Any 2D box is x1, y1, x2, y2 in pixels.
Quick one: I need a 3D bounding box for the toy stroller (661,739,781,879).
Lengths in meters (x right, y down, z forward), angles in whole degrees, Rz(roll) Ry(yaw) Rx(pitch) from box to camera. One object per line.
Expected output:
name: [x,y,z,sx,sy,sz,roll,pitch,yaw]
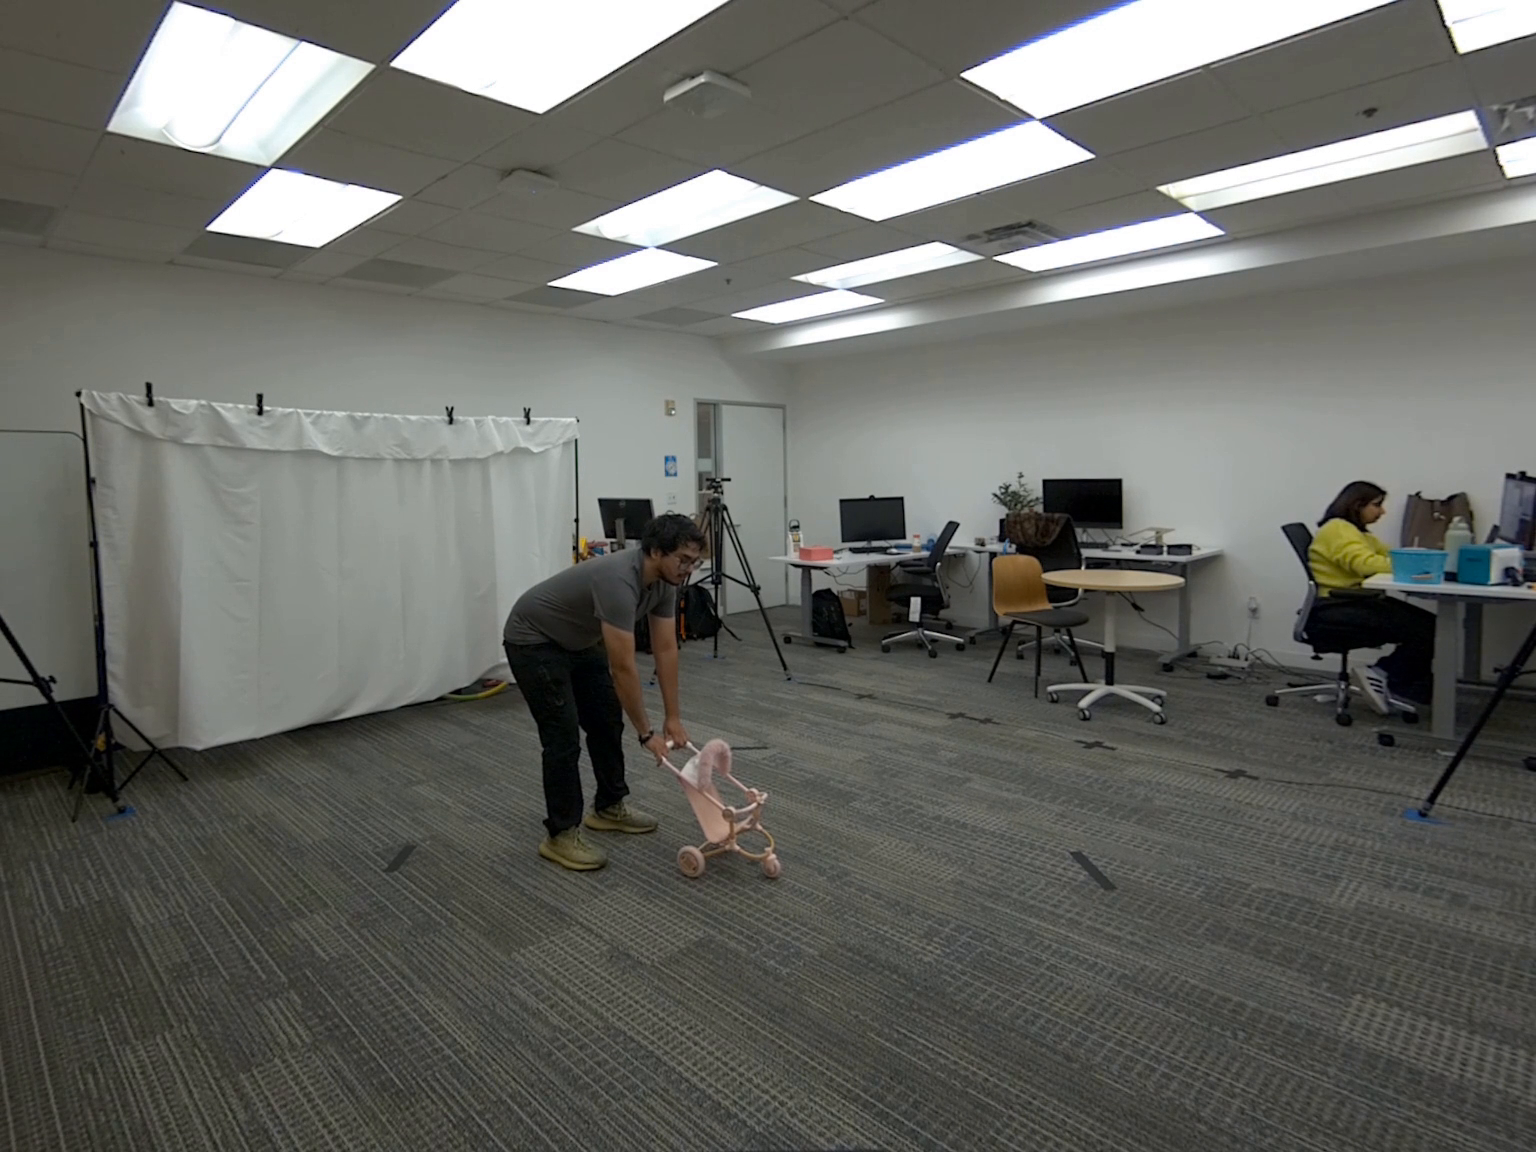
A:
toy stroller: [-0.163,0.827,3.063,0.347,0.538,0.275,-18,-5,31]
